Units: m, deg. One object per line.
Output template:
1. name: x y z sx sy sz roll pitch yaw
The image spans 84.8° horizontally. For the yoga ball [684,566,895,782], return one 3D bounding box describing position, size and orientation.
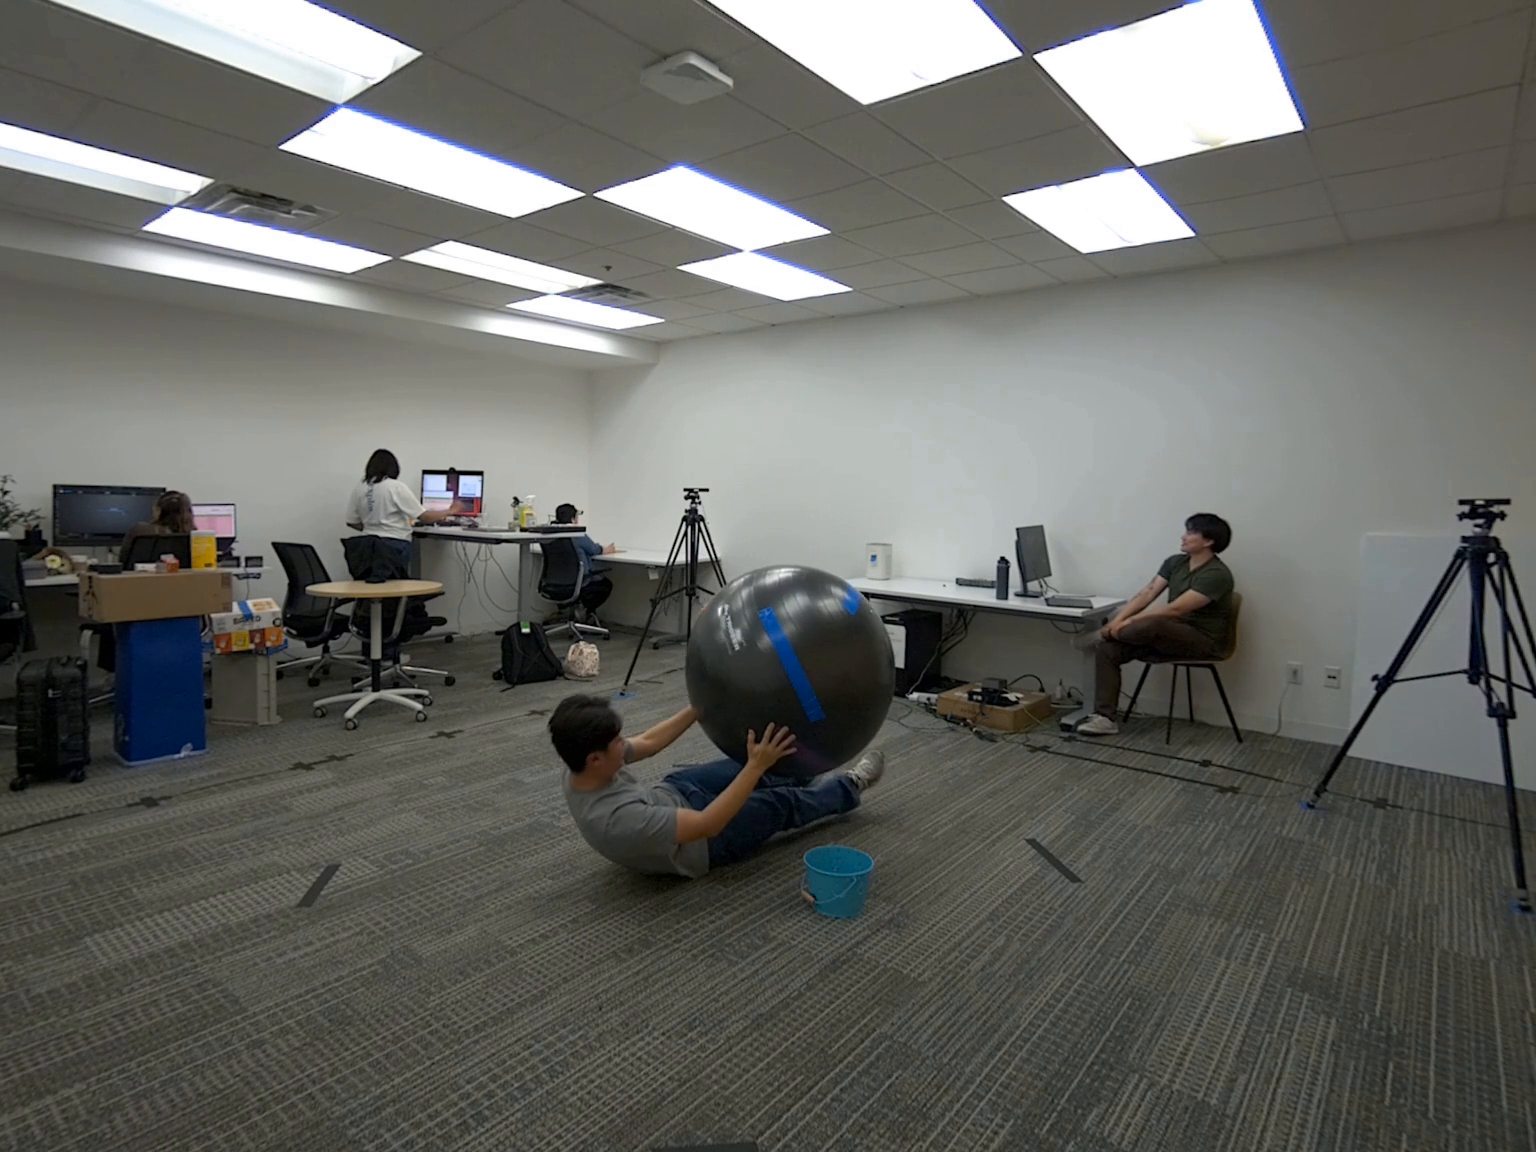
1. yoga ball: 0.059 0.341 3.079 0.757 0.756 0.762 1 4 -2
